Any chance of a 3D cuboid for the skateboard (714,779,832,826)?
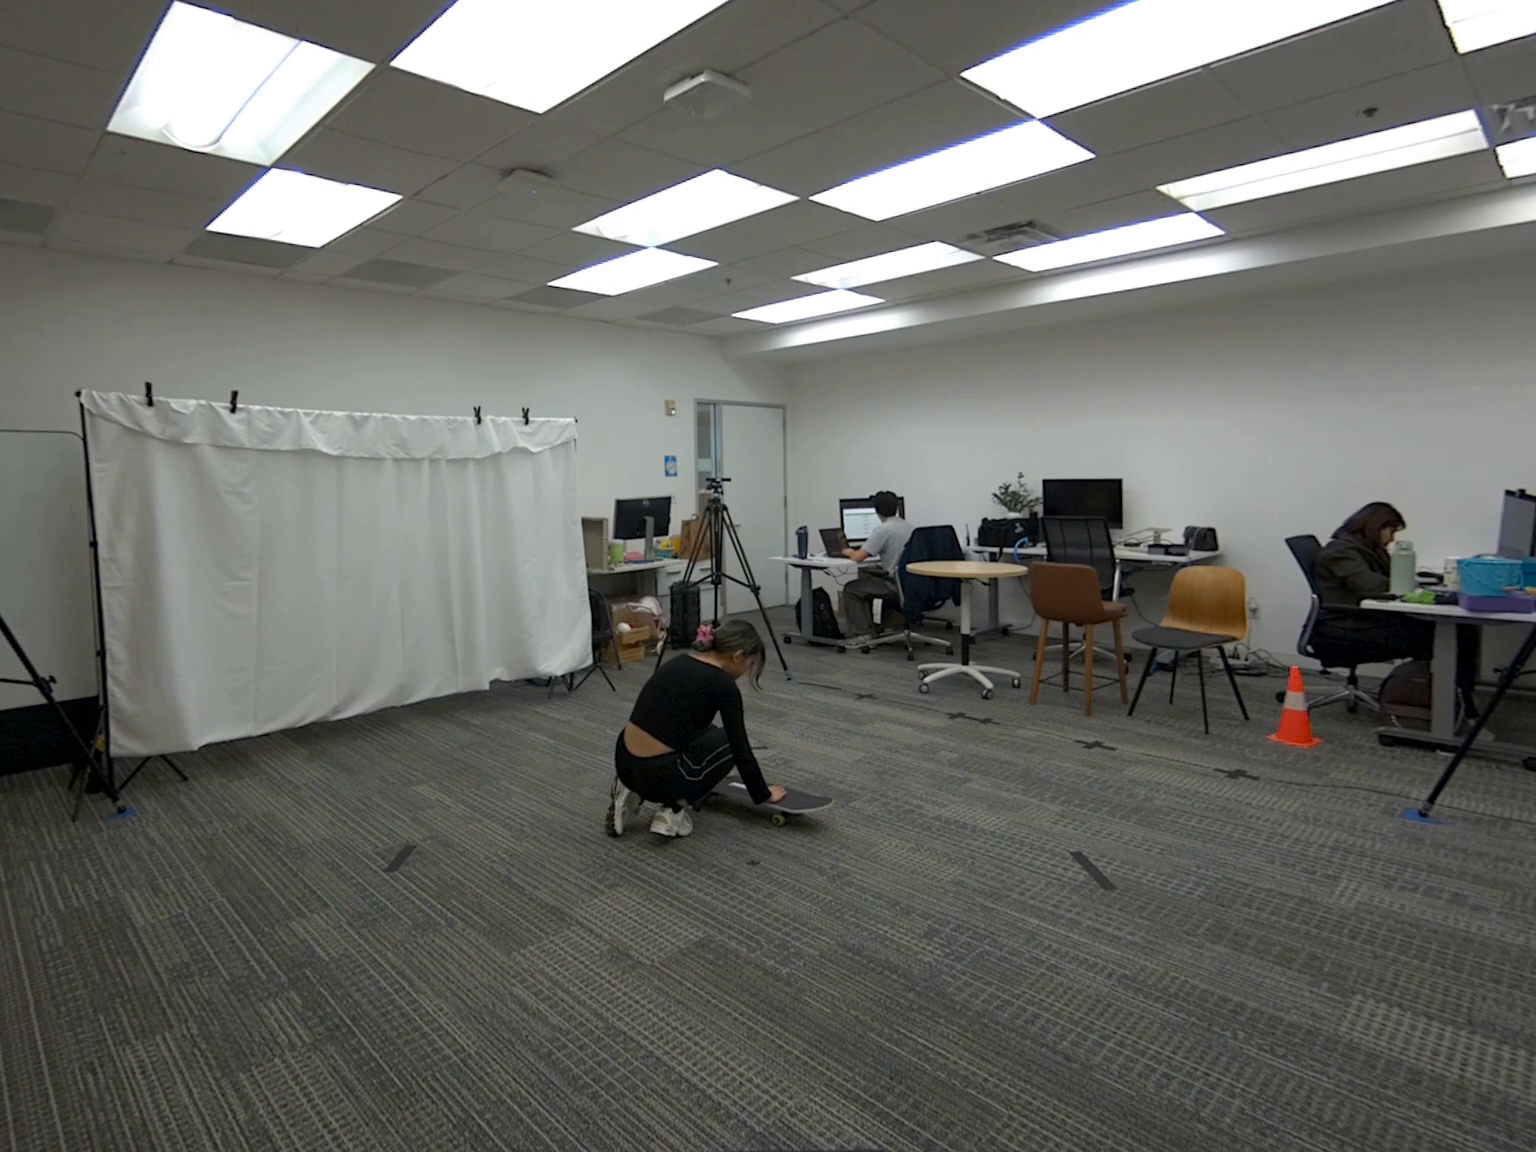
[{"bbox_3d":[-0.078,0.927,3.609,0.808,0.110,0.189,3,6,36],"label":"skateboard"}]
